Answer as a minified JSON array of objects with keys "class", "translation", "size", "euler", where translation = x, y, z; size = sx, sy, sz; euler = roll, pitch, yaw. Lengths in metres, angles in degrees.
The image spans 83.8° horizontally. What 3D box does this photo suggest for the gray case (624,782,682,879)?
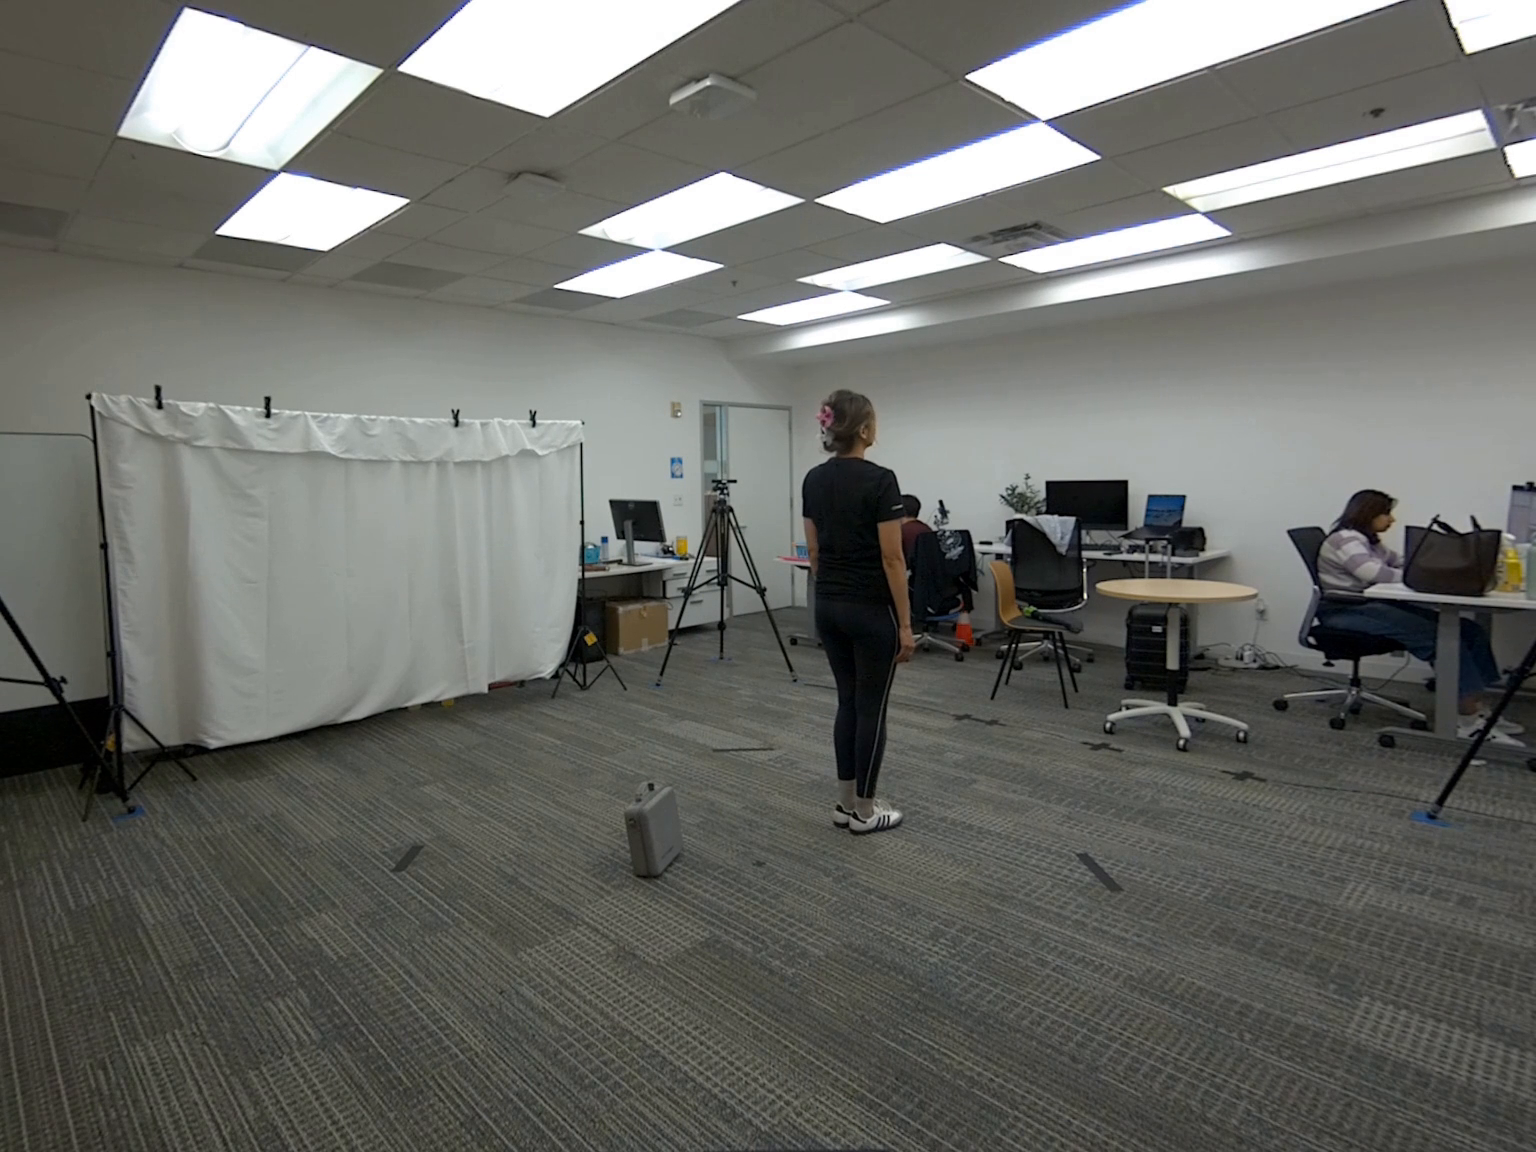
[{"class":"gray case","translation":[-0.411,0.921,3.112],"size":[0.106,0.260,0.253],"euler":[-8,2,19]}]
